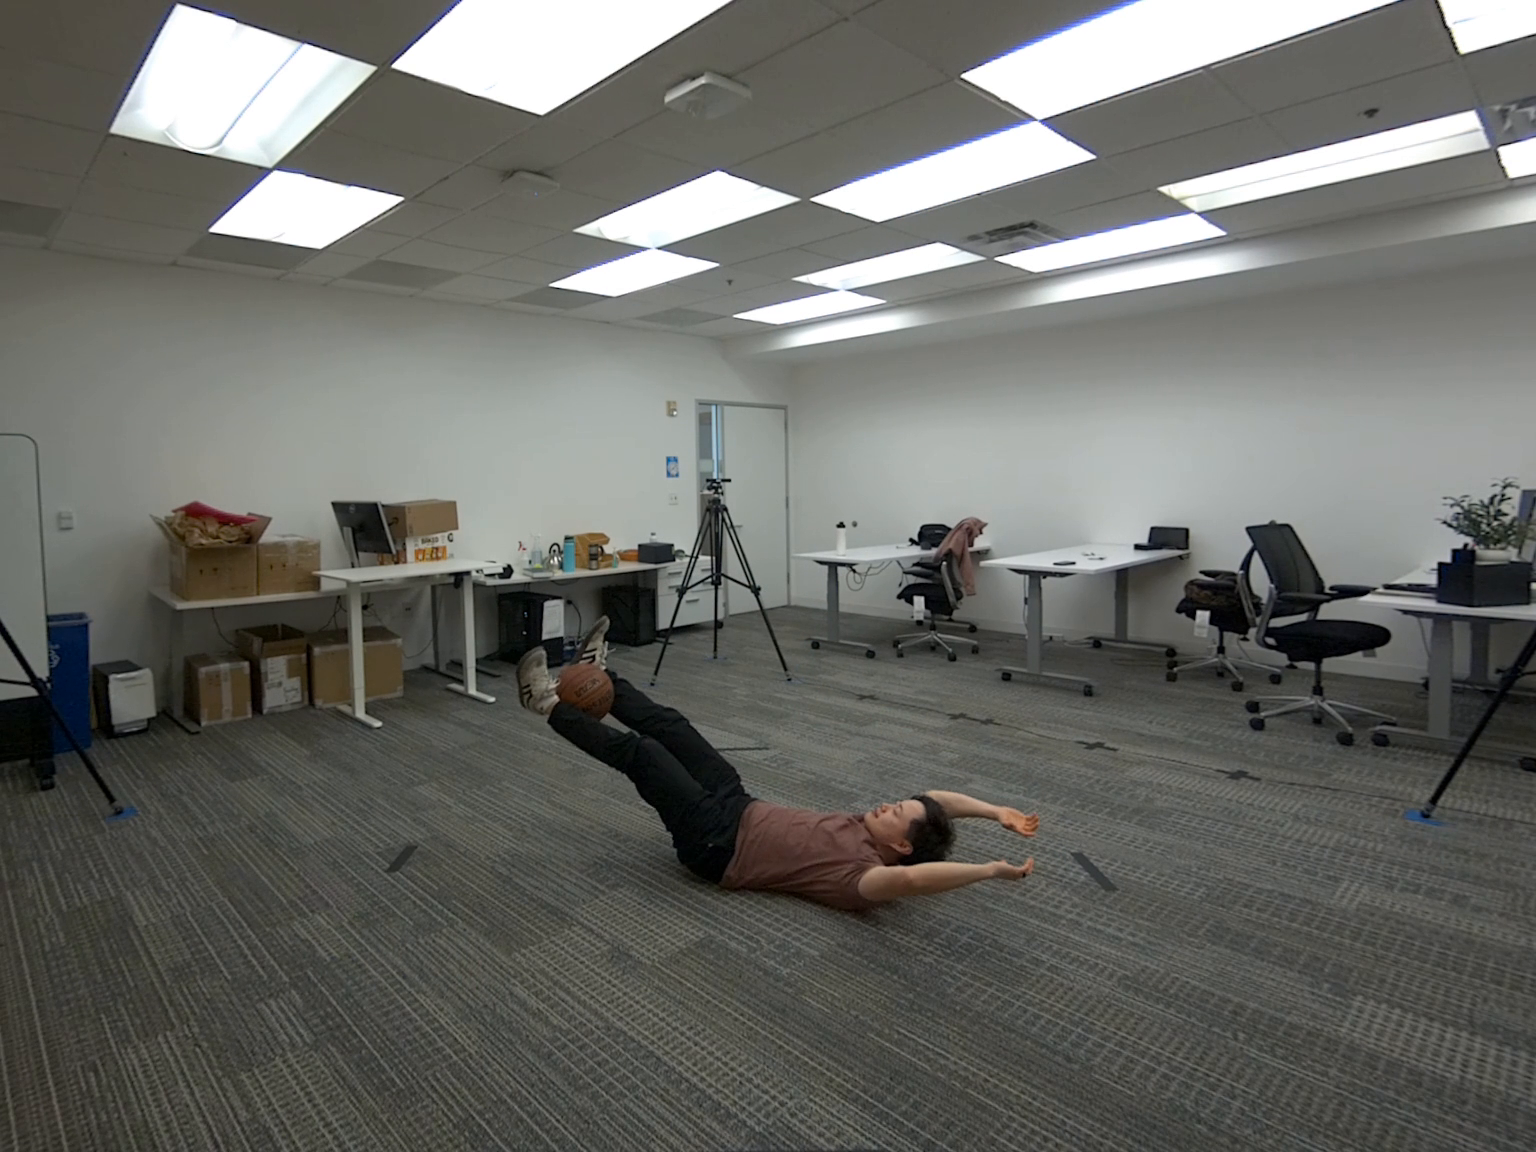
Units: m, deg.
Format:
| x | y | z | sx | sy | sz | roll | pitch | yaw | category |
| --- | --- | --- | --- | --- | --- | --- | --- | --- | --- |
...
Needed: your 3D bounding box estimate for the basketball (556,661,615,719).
| x | y | z | sx | sy | sz | roll | pitch | yaw | category |
| --- | --- | --- | --- | --- | --- | --- | --- | --- | --- |
| -0.706 | 0.454 | 3.238 | 0.236 | 0.236 | 0.236 | 0 | 1 | -2 | basketball |
